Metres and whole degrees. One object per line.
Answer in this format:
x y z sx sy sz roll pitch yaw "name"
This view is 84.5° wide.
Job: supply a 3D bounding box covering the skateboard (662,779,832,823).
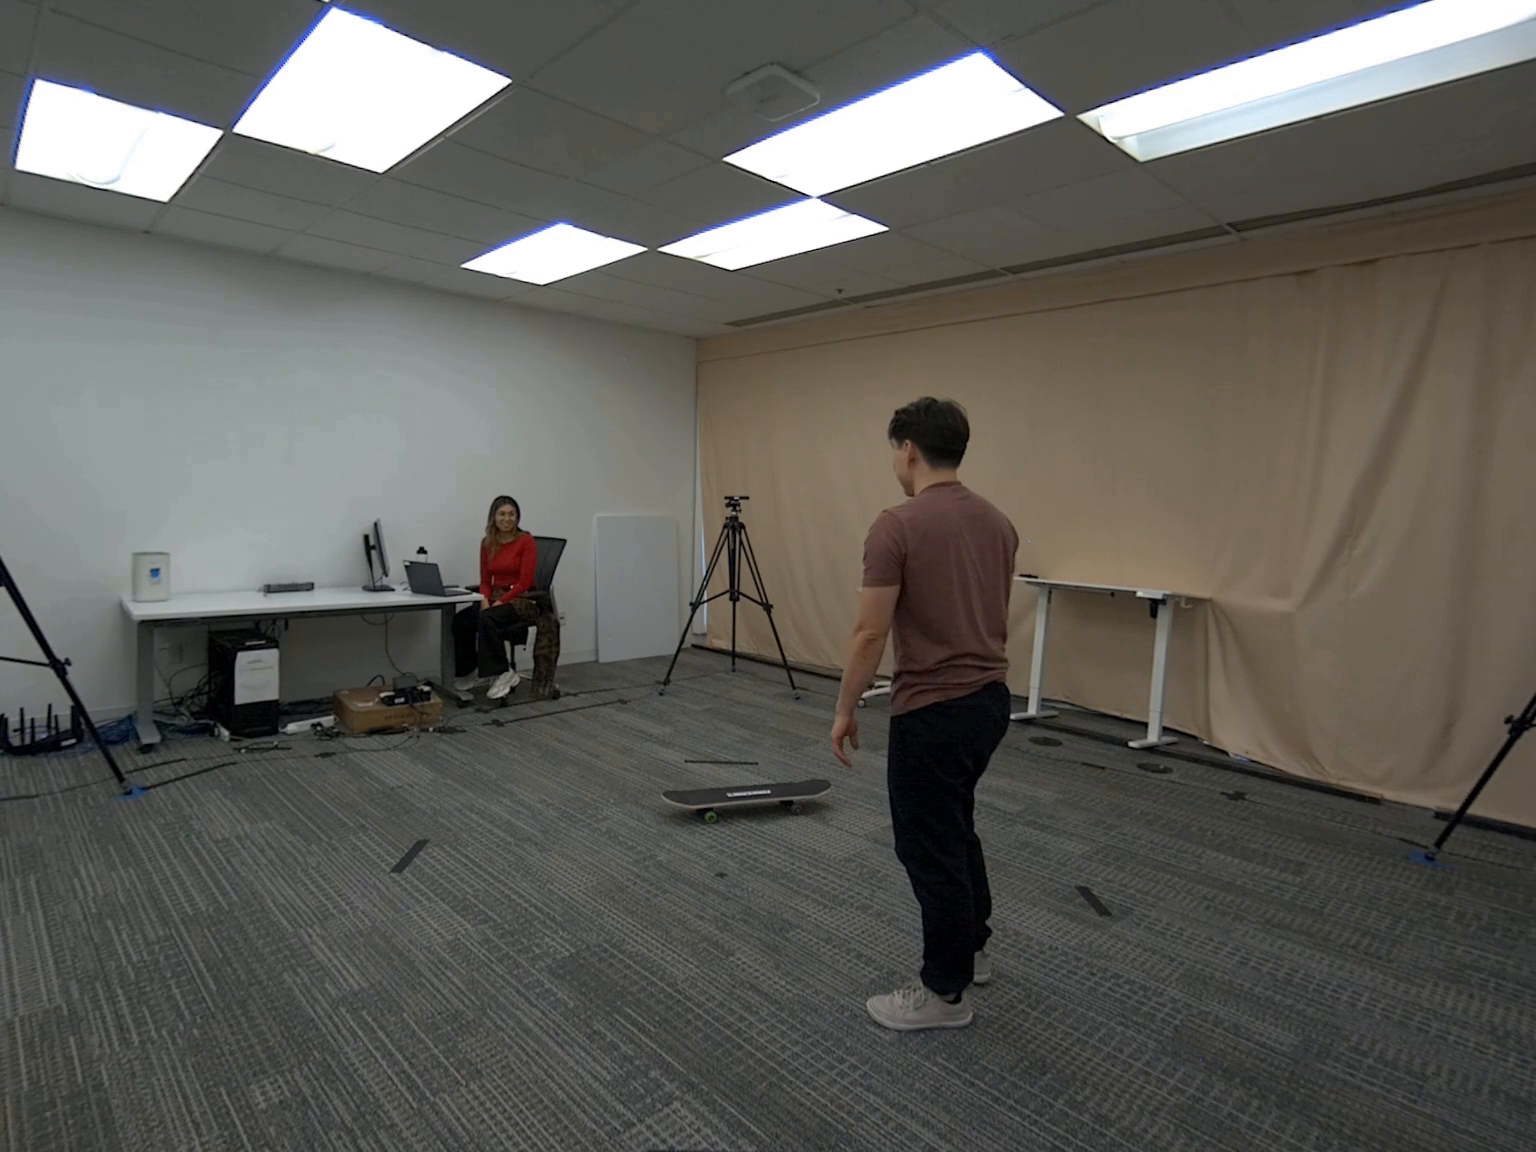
-0.093 0.994 3.735 0.774 0.110 0.197 0 5 -18 "skateboard"
